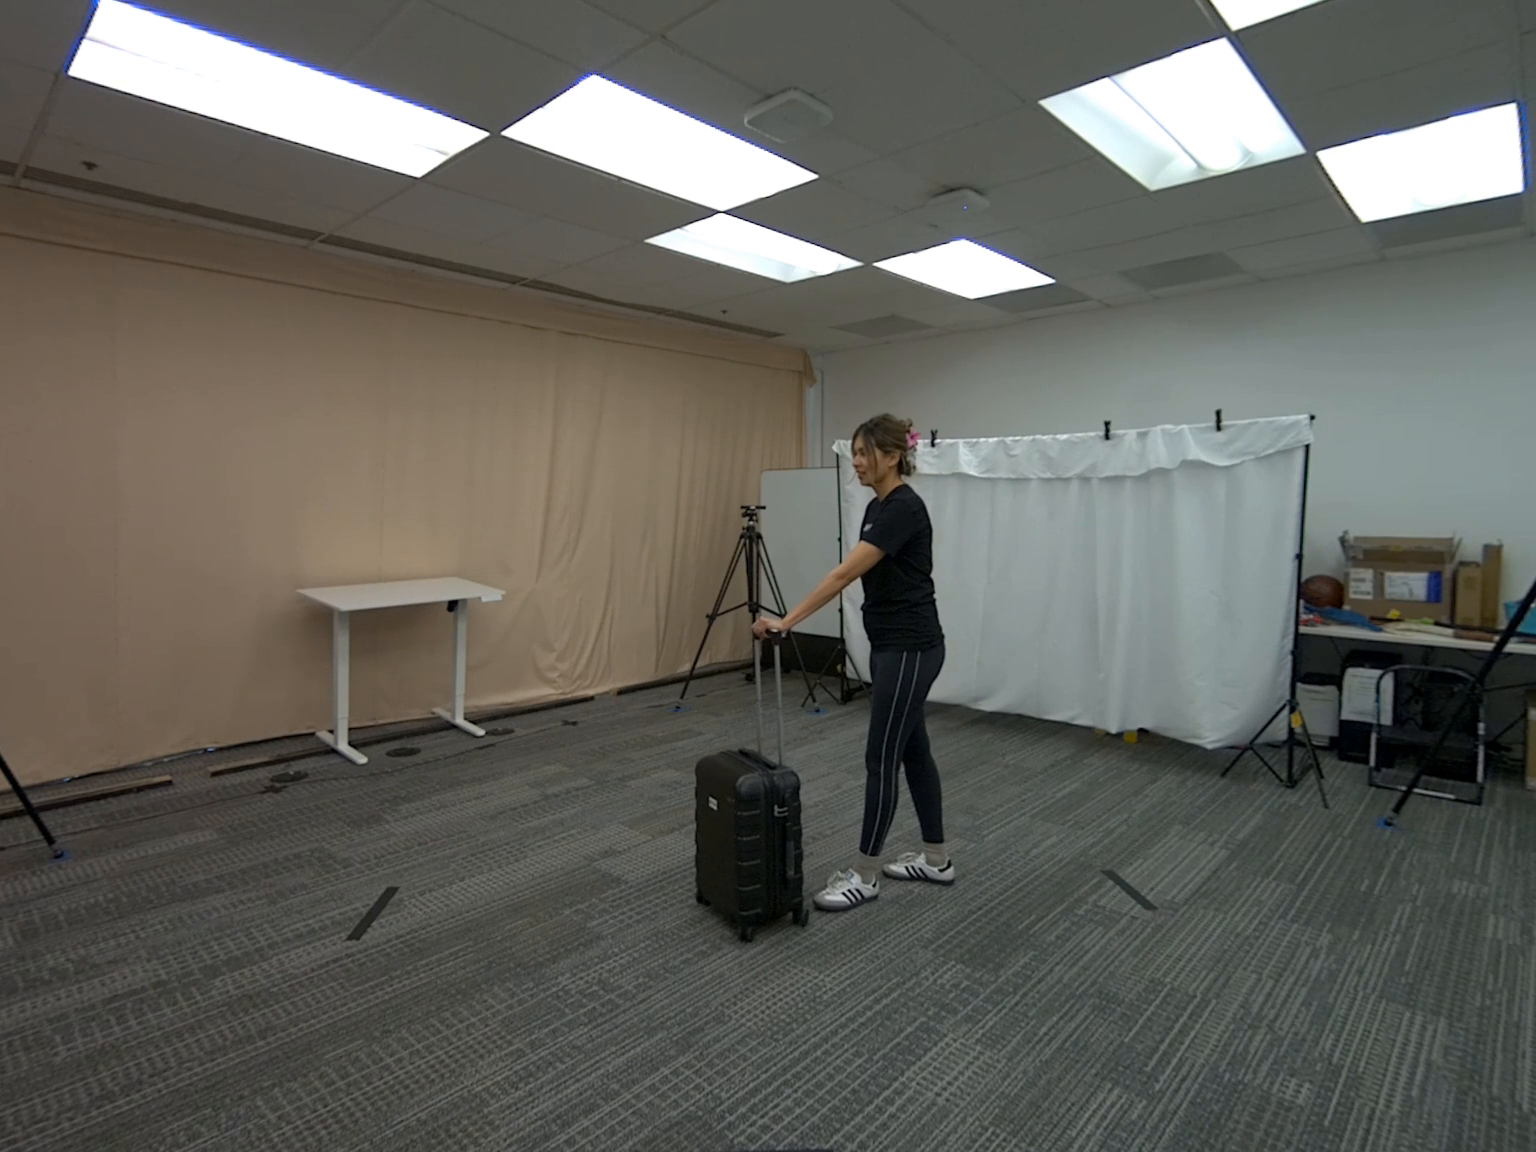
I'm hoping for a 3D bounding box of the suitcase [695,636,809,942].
[{"bbox_3d":[-0.074,0.681,2.824,0.251,0.975,0.394,-5,5,-27],"label":"suitcase"}]
